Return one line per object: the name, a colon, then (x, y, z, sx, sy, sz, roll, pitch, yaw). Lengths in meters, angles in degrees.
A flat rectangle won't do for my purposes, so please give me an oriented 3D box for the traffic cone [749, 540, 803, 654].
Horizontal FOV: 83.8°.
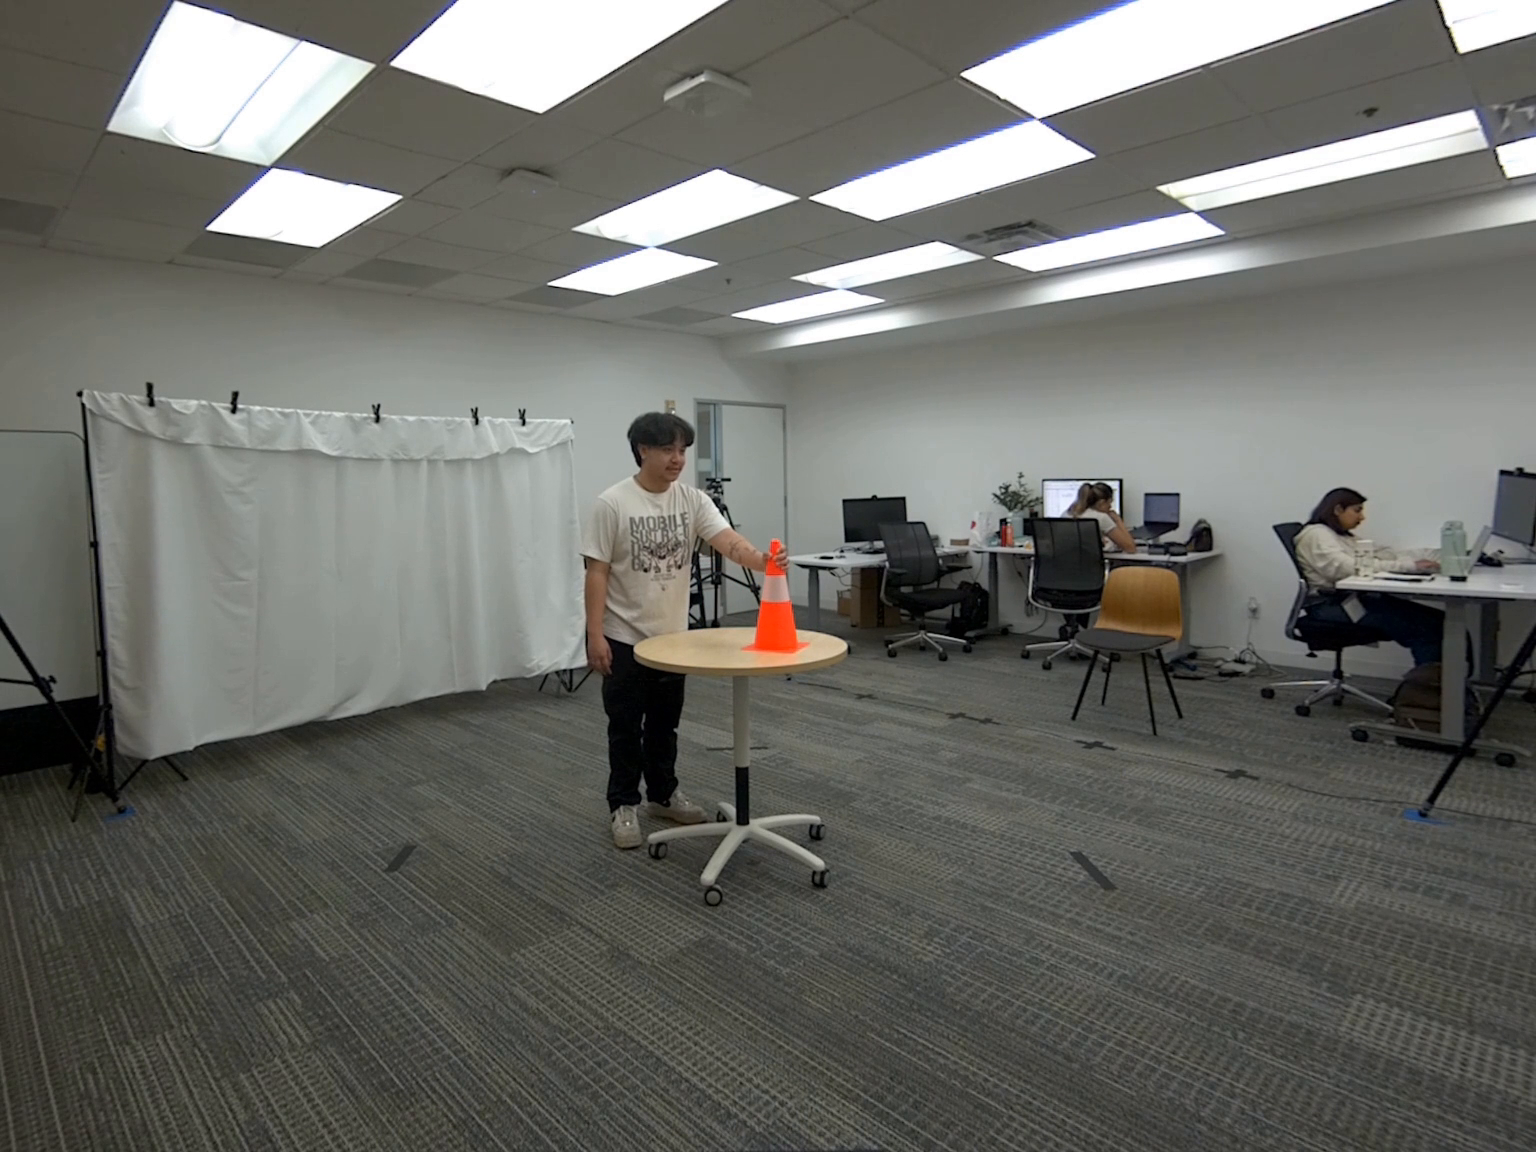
traffic cone: (0.026, 0.067, 3.025, 0.208, 0.382, 0.201, 0, 5, 25)
